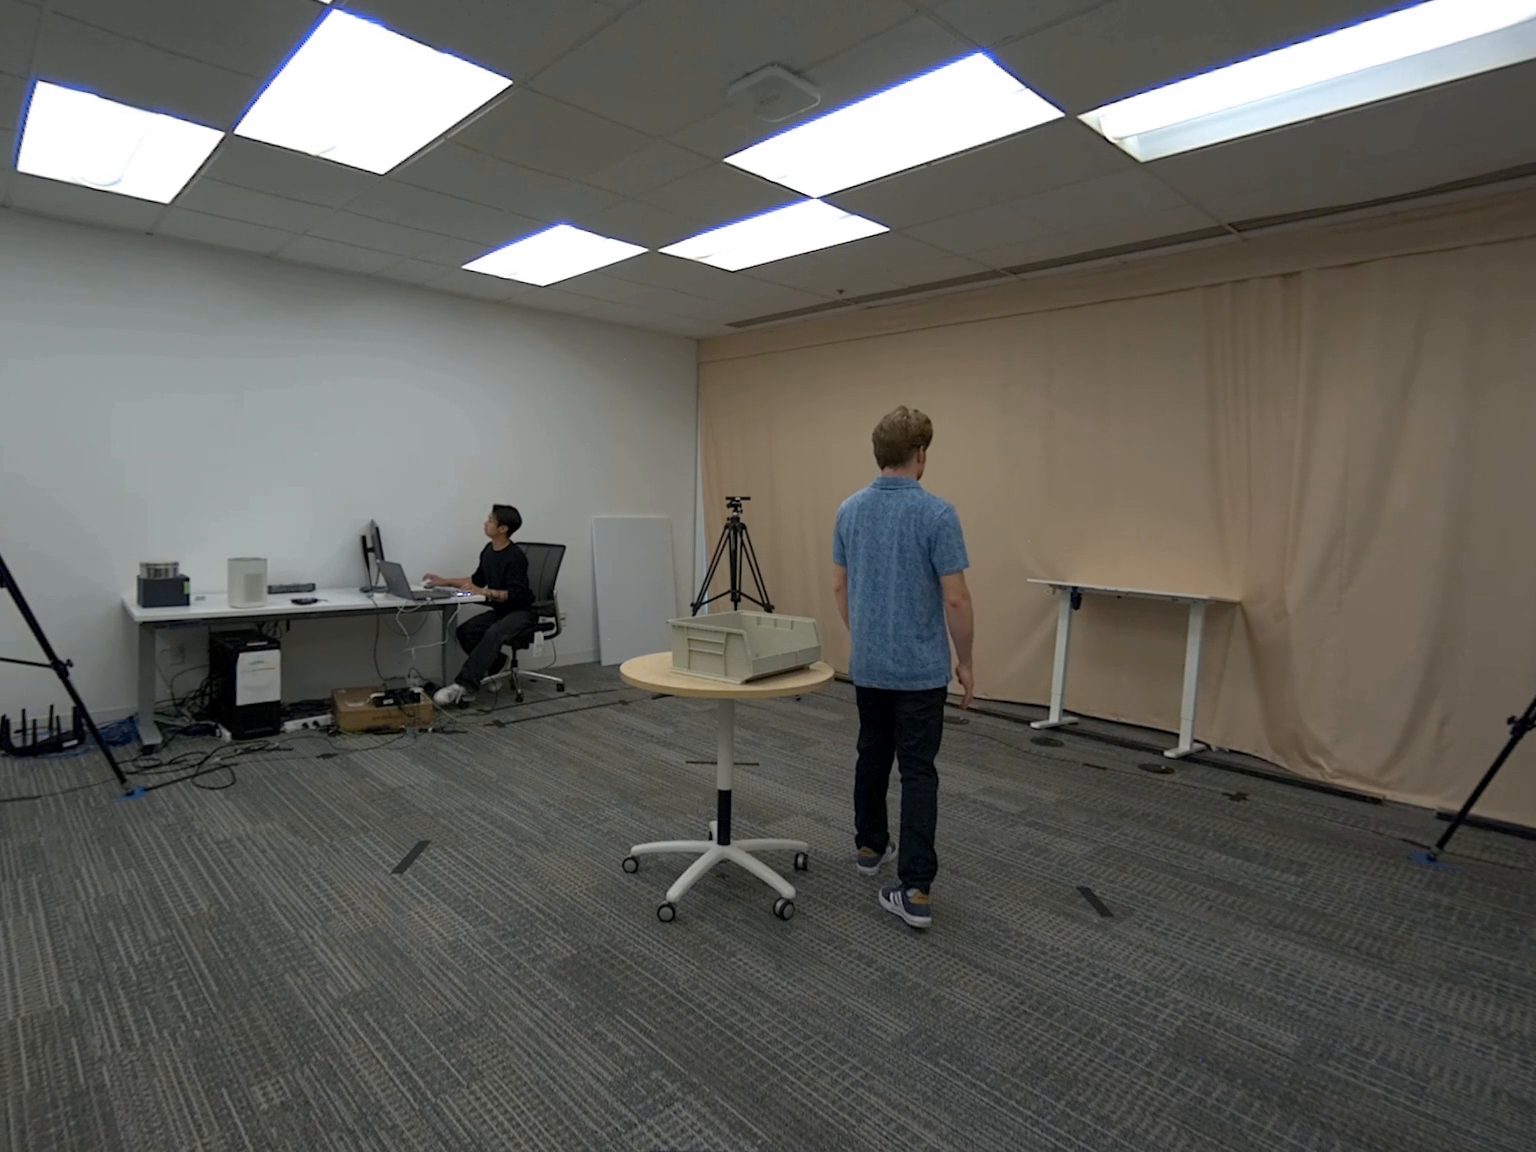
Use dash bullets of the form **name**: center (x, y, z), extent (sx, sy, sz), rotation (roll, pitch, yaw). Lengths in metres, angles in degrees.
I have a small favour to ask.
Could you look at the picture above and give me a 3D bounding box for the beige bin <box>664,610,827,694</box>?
- **beige bin**: center (-0.077, 0.251, 2.959), extent (0.386, 0.188, 0.413), rotation (3, 6, 39)
